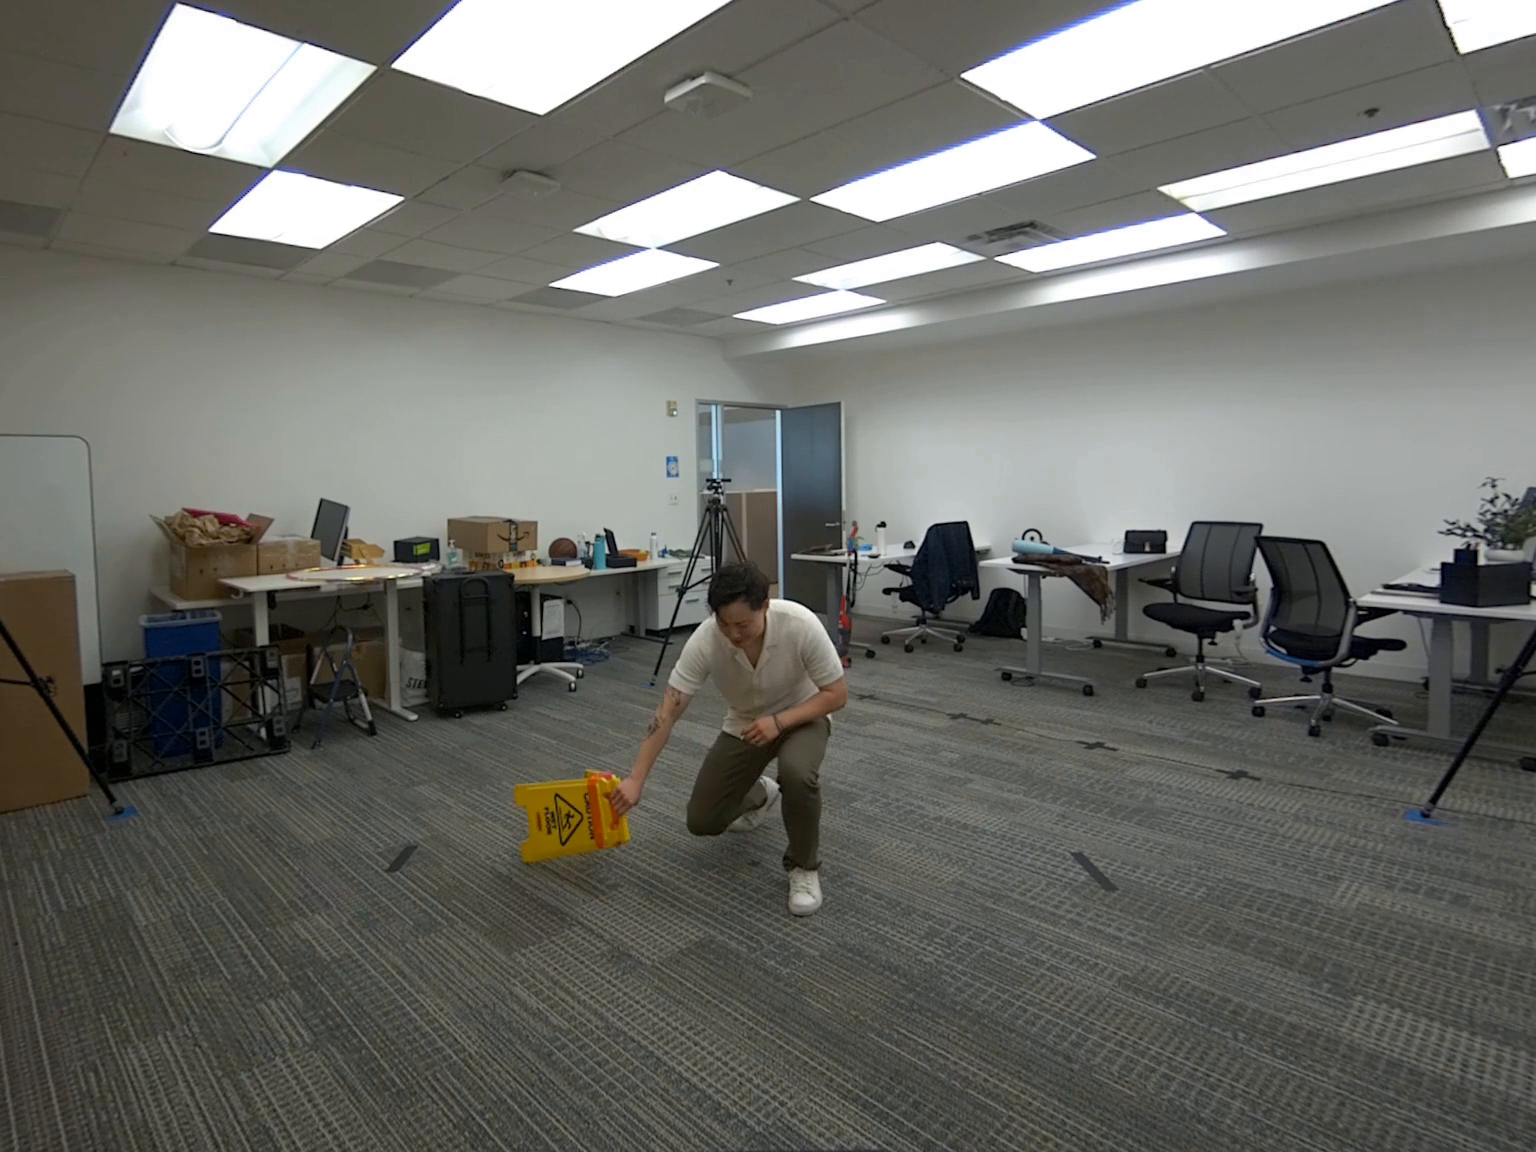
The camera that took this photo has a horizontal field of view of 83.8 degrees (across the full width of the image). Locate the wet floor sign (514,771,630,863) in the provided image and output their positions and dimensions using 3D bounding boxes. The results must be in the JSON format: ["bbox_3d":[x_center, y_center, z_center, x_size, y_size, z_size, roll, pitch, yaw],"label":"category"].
[{"bbox_3d":[-0.634,0.831,3.011,0.282,0.286,0.654,-4,-13,-35],"label":"wet floor sign"}]
